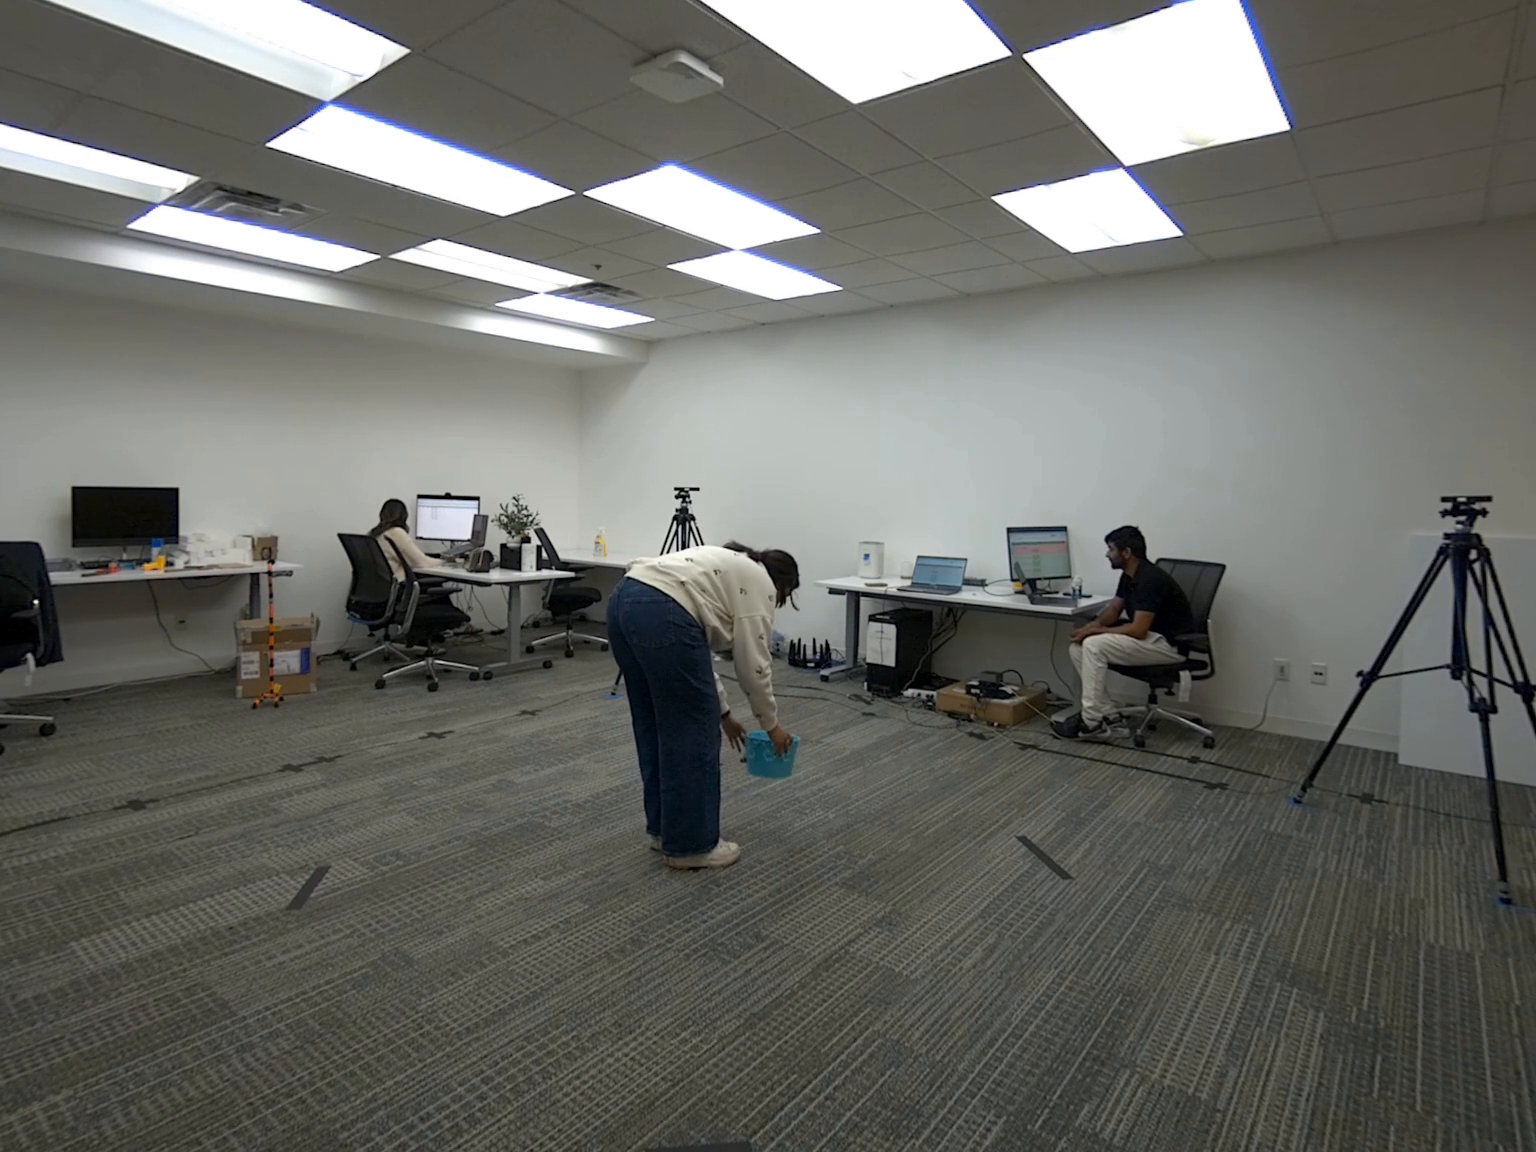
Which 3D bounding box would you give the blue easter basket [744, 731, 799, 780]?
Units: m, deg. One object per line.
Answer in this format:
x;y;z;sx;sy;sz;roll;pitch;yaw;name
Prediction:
-0.006;0.711;3.477;0.243;0.156;0.243;3;-2;-2;blue easter basket
